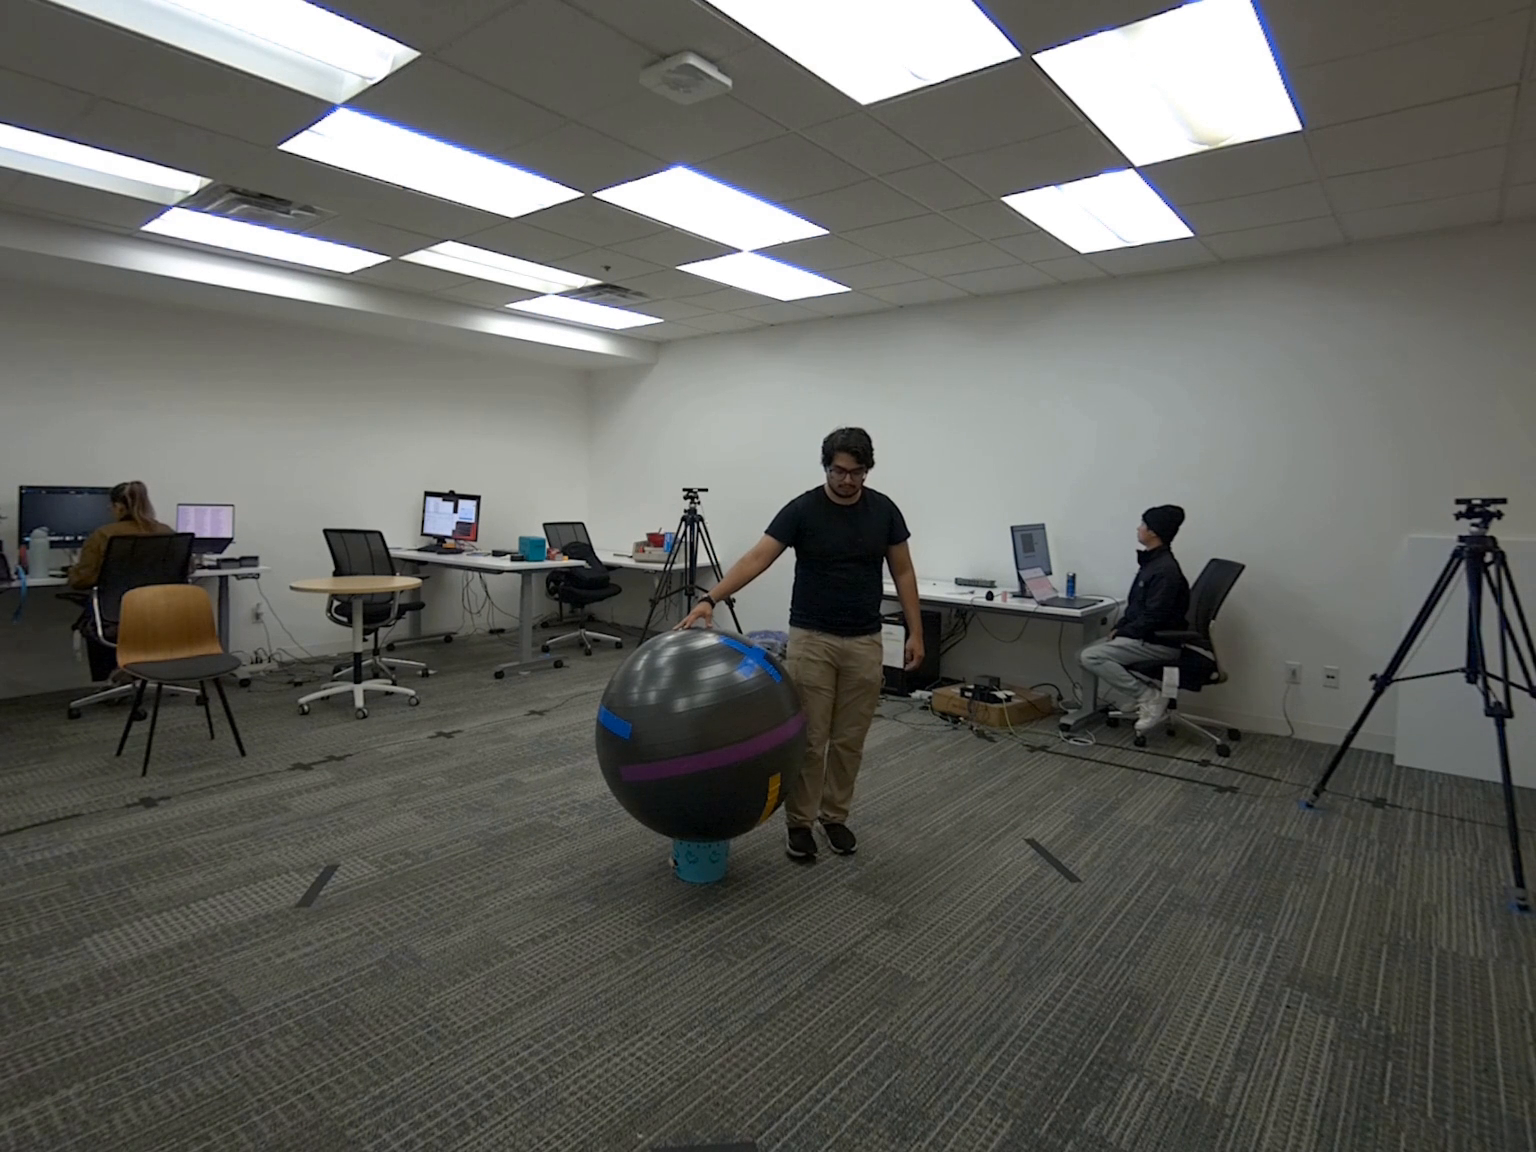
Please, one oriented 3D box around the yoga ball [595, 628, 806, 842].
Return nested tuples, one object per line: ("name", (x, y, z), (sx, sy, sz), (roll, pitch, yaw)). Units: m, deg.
("yoga ball", (-0.259, 0.568, 3.063), (0.757, 0.756, 0.762), (1, 4, -2))
